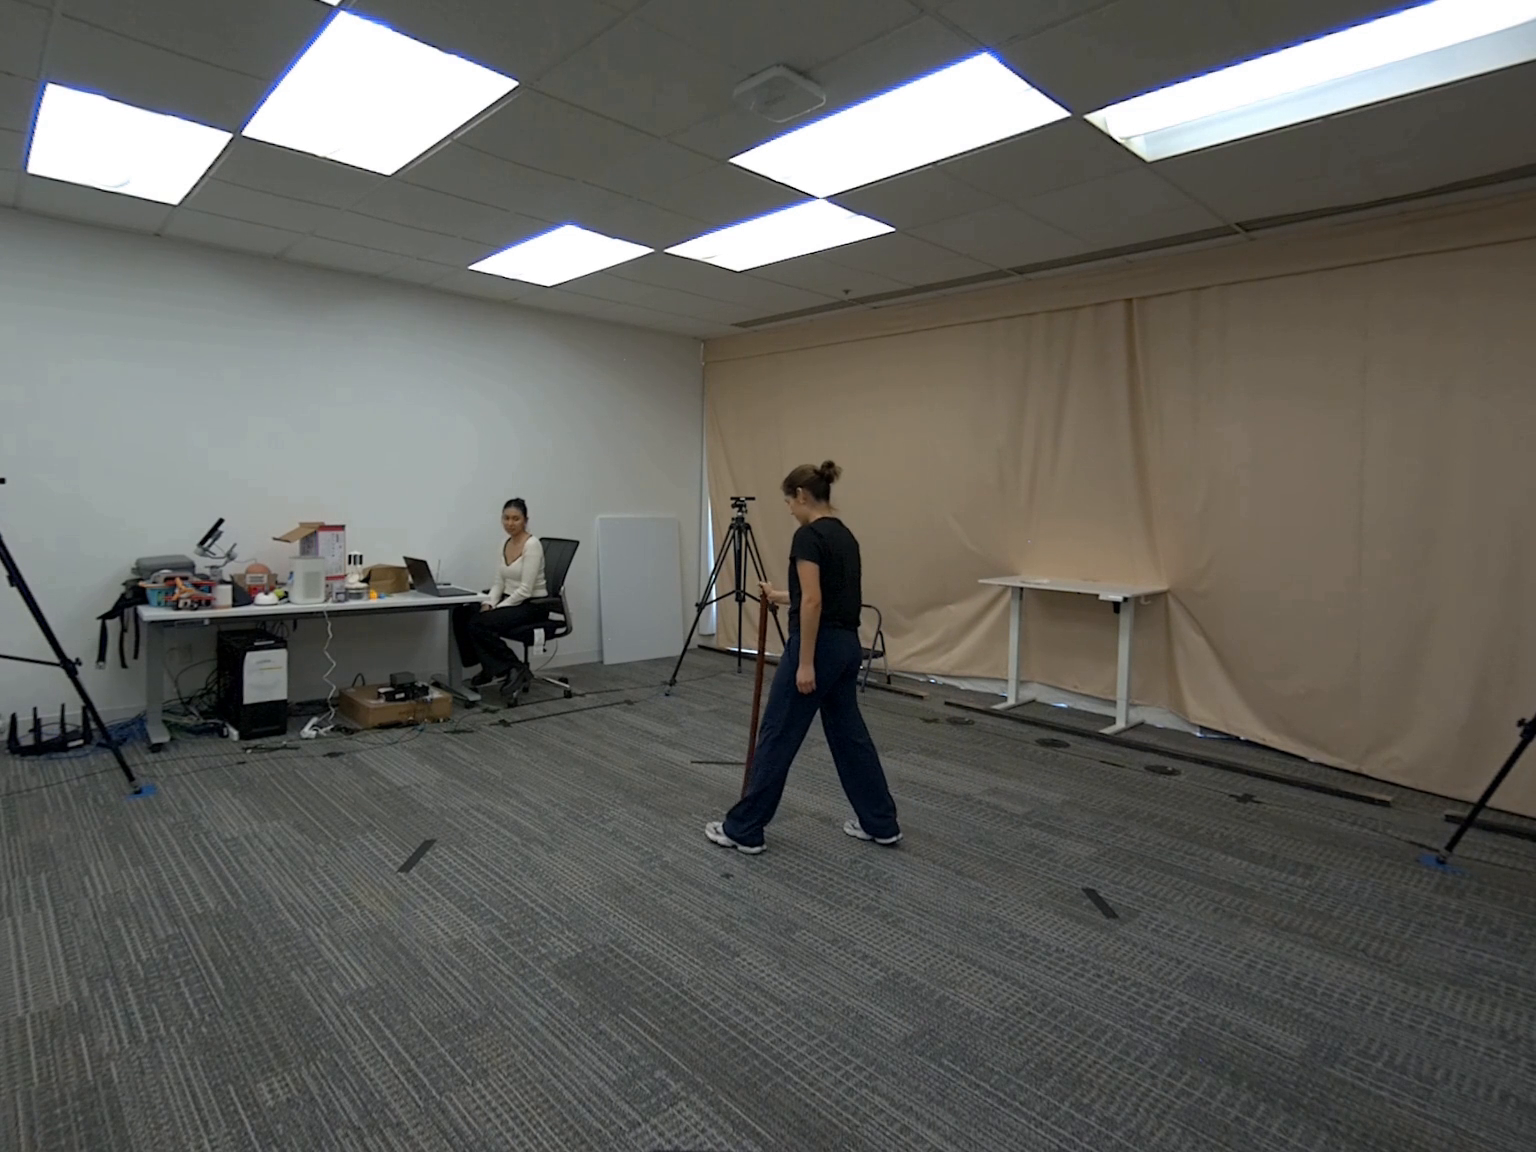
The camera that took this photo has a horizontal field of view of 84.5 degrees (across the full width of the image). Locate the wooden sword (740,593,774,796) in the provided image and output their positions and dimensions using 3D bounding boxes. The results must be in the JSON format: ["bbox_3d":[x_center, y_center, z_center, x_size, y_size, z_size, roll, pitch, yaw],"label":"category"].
[{"bbox_3d":[-0.069,0.558,3.842,0.051,1.021,0.024,7,6,3],"label":"wooden sword"}]
